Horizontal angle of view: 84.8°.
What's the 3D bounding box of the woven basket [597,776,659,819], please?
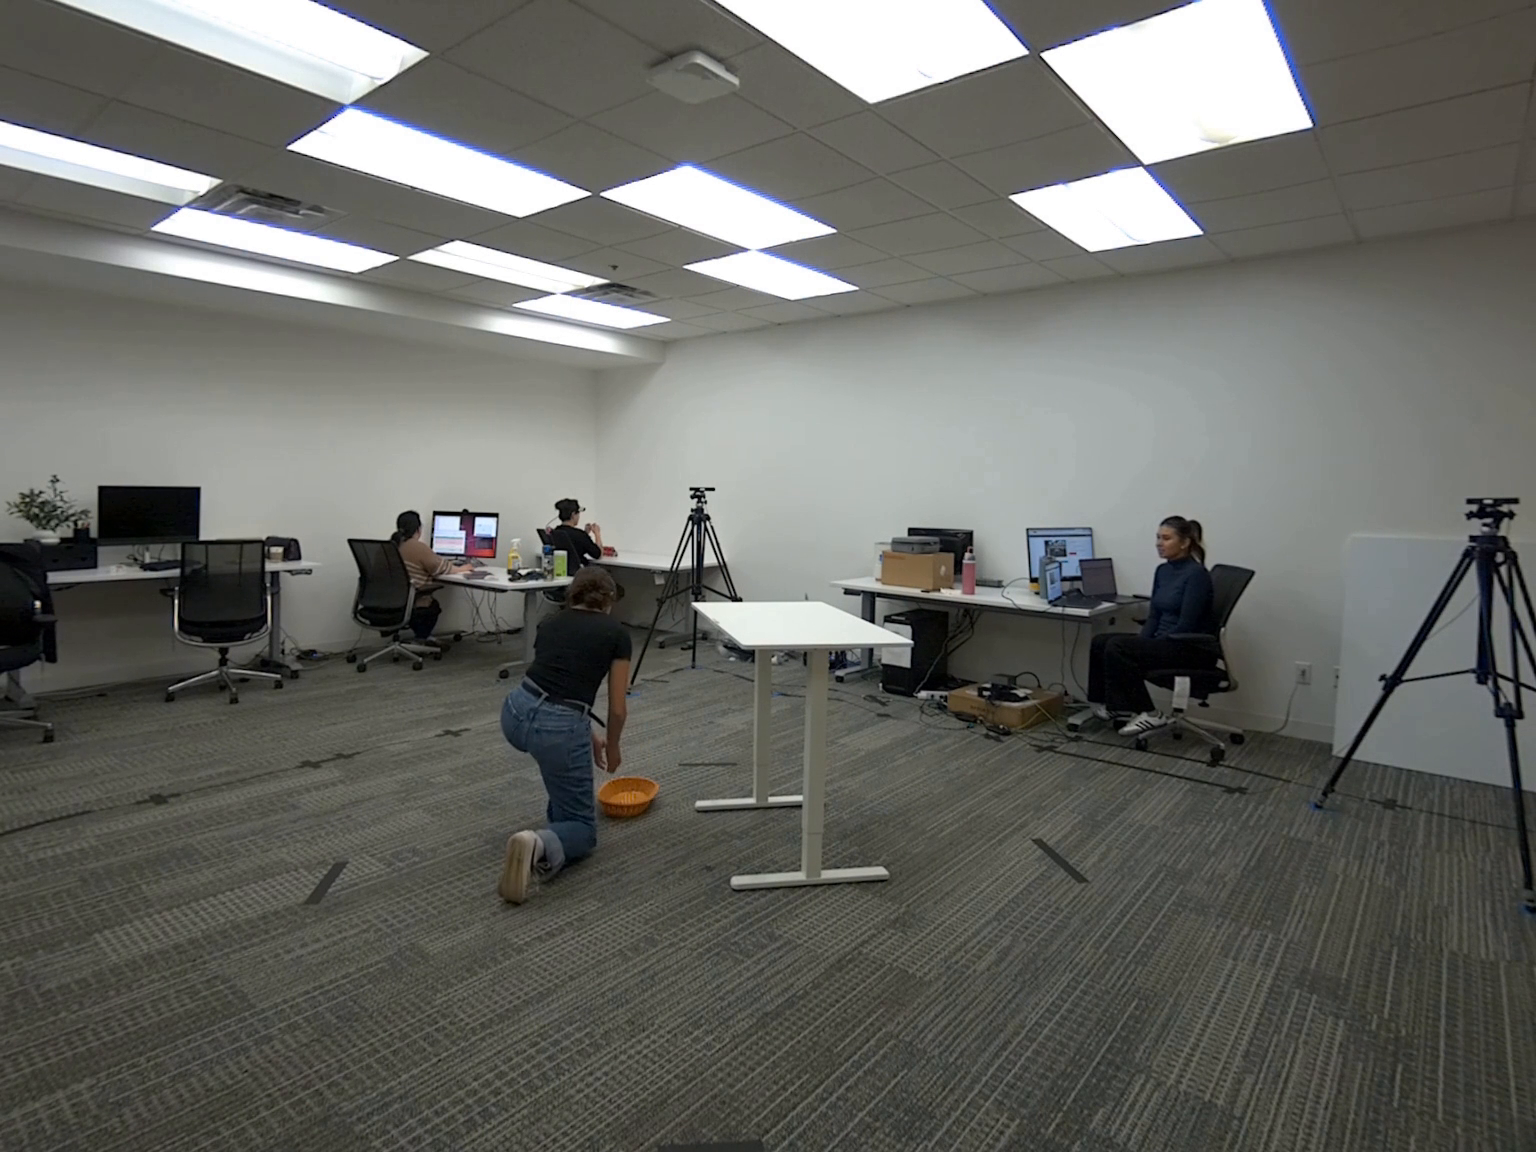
[{"bbox_3d":[-0.626,0.961,3.709,0.256,0.073,0.347,3,6,10],"label":"woven basket"}]
